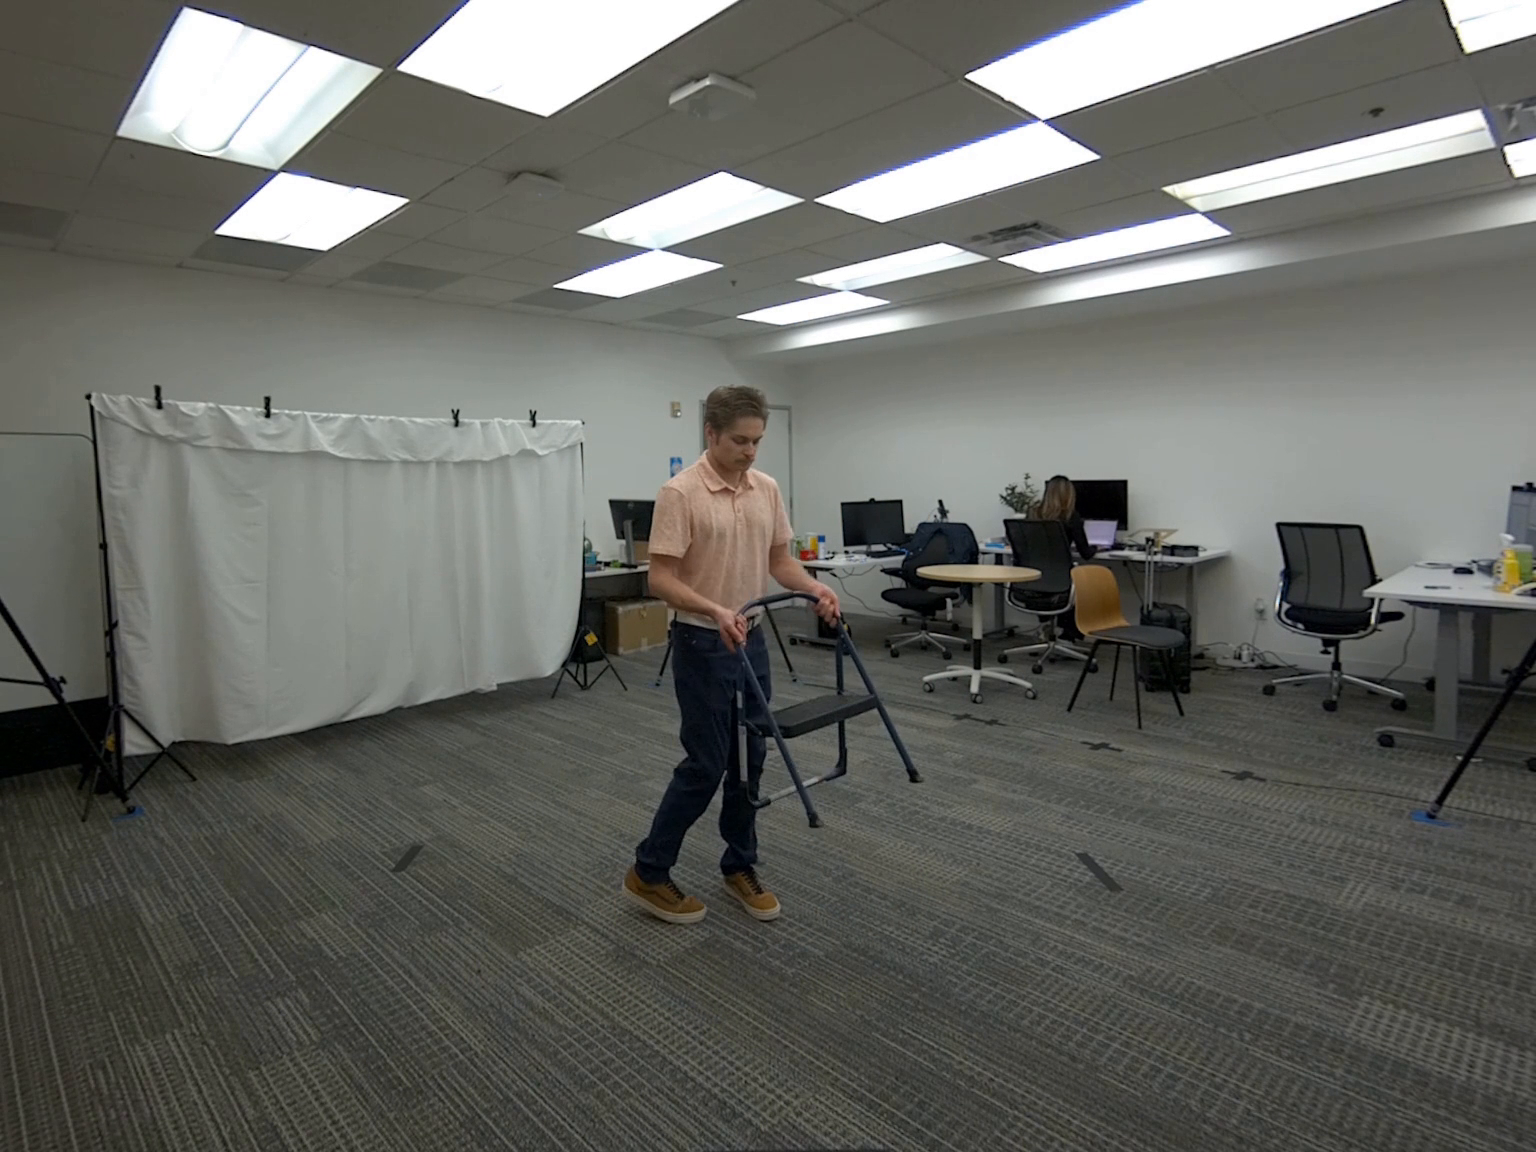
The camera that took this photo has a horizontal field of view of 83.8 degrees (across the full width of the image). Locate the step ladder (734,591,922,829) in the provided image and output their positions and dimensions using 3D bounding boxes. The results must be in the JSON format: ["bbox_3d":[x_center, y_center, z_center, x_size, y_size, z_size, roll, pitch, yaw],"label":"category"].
[{"bbox_3d":[0.122,0.349,2.500,0.421,0.608,0.356,-10,-3,-38],"label":"step ladder"}]
